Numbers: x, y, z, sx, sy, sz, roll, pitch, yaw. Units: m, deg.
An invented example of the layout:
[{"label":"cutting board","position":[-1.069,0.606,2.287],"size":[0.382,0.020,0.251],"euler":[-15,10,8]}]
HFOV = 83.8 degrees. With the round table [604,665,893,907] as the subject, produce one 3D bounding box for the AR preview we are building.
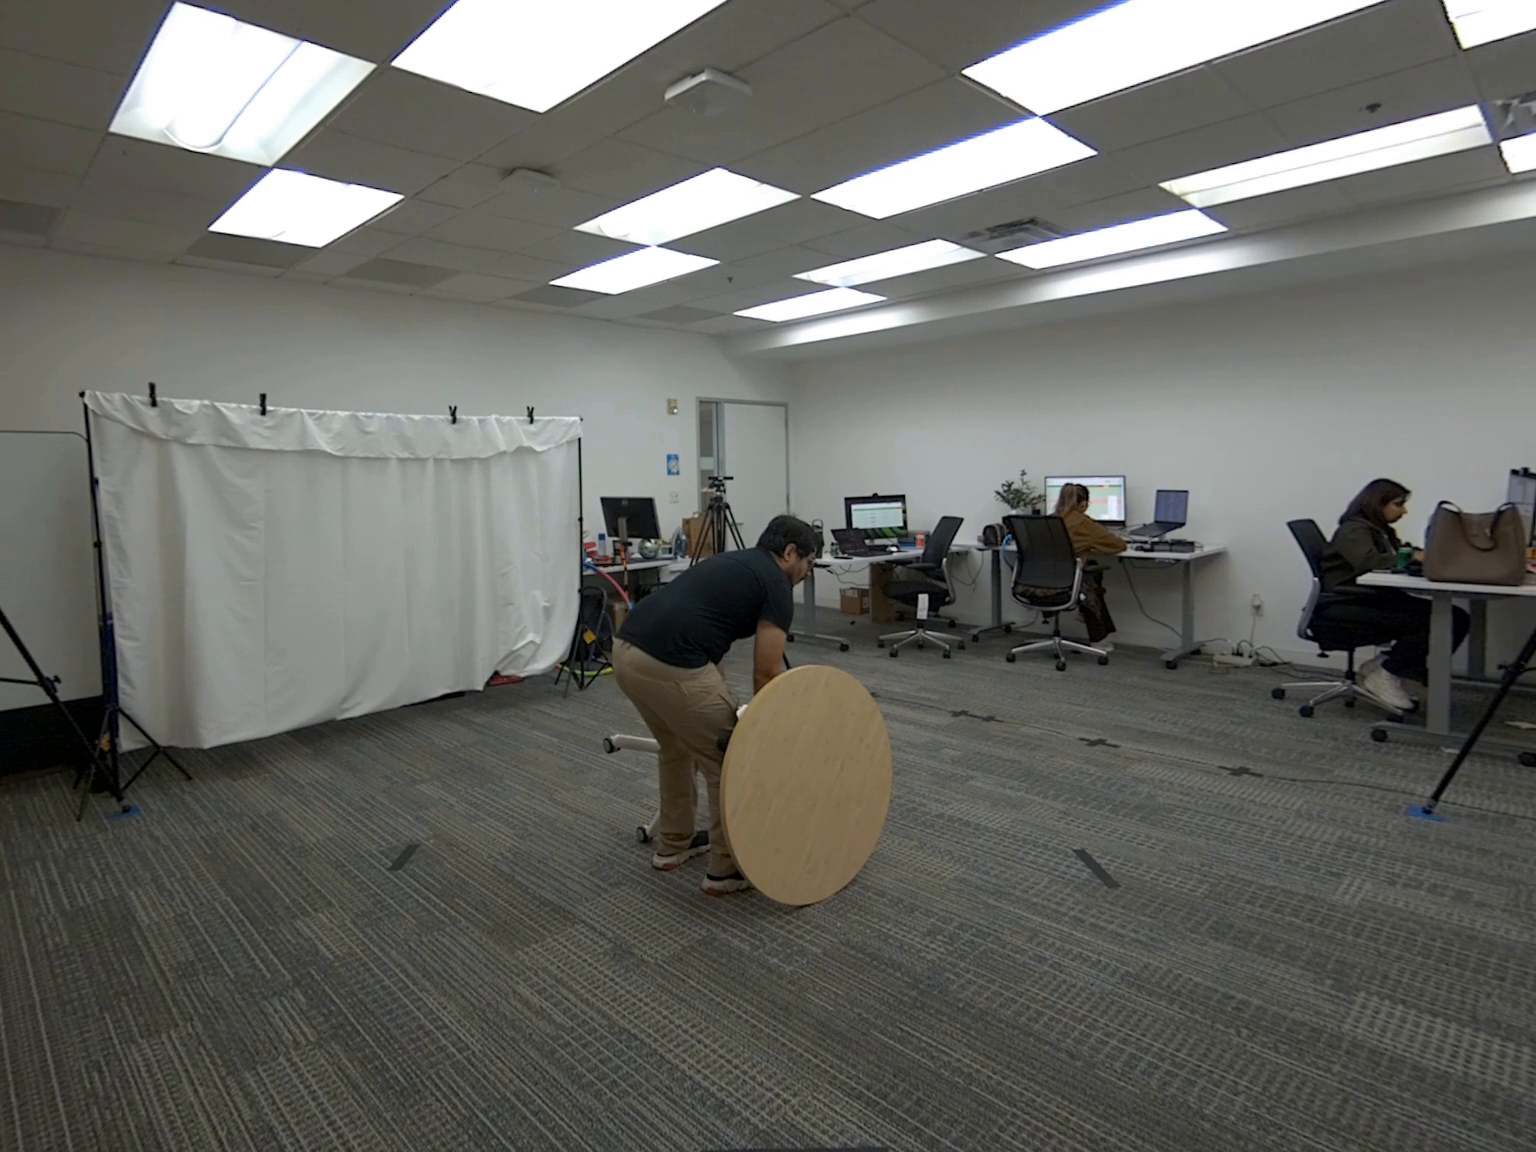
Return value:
[{"label":"round table","position":[-0.102,0.676,3.133],"size":[0.764,0.784,0.808],"euler":[-5,3,-40]}]
